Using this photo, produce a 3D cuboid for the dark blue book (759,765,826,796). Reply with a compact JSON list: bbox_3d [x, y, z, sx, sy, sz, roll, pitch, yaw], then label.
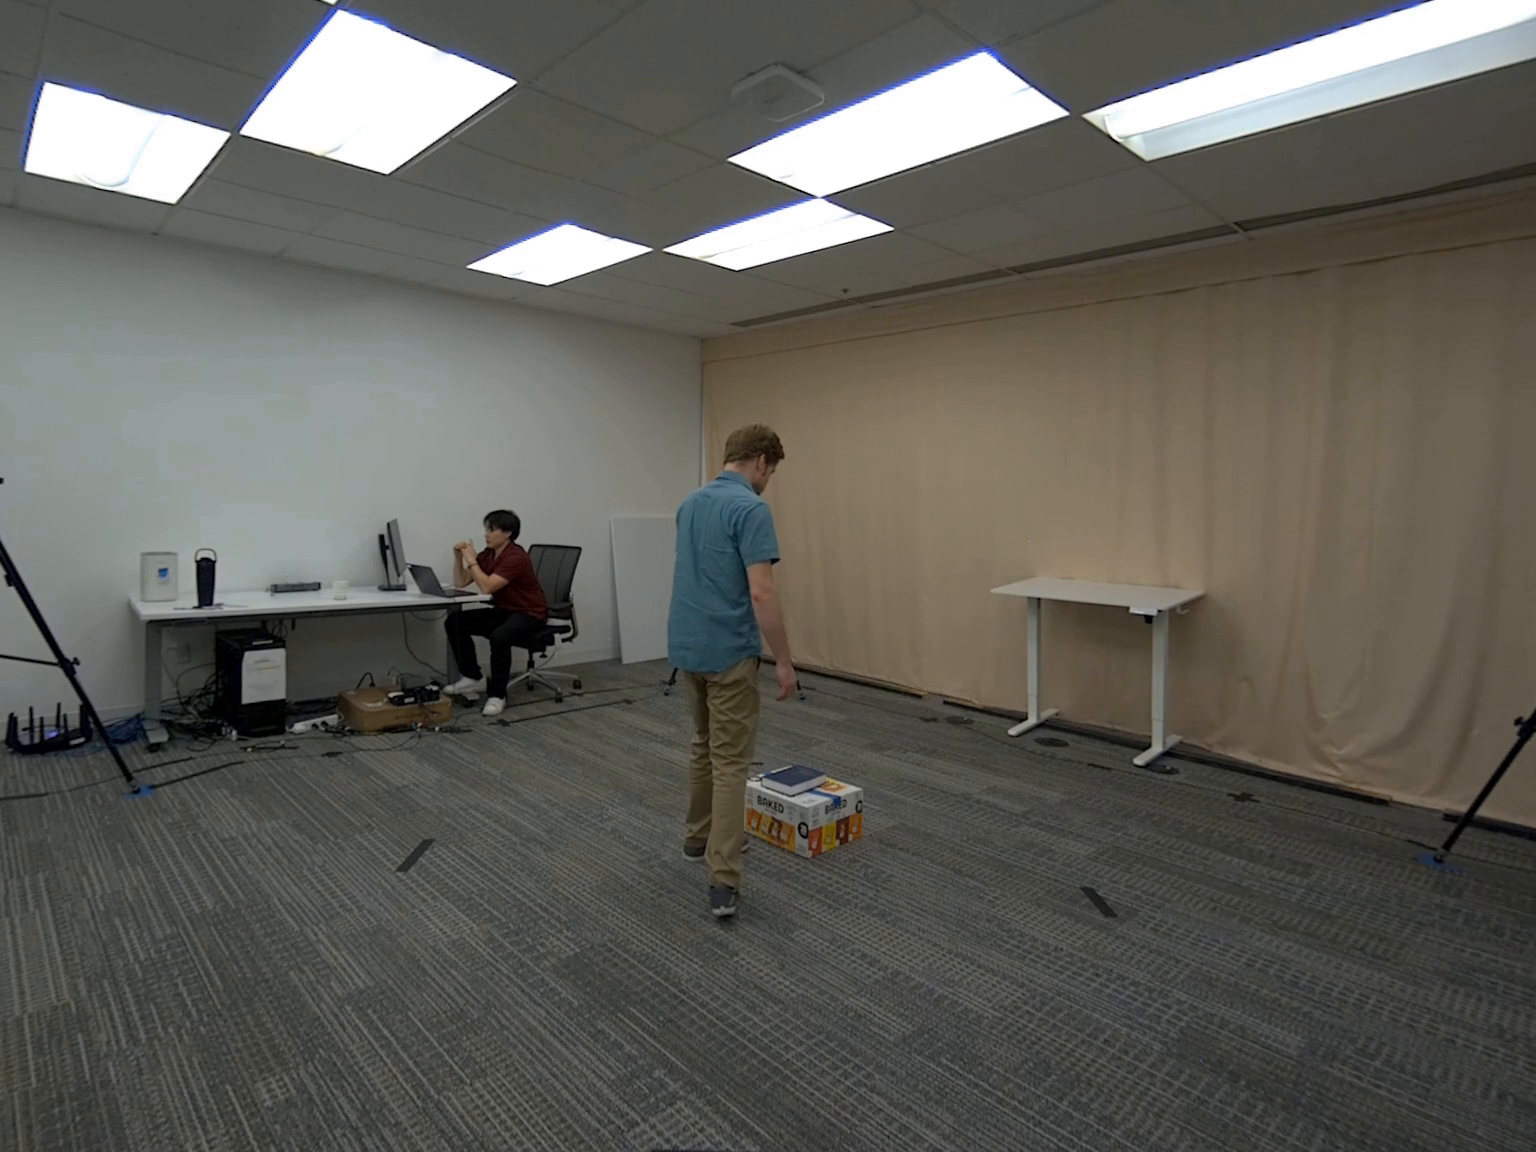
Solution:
[{"bbox_3d":[0.102,0.859,3.544,0.167,0.045,0.239,7,7,41],"label":"dark blue book"}]
